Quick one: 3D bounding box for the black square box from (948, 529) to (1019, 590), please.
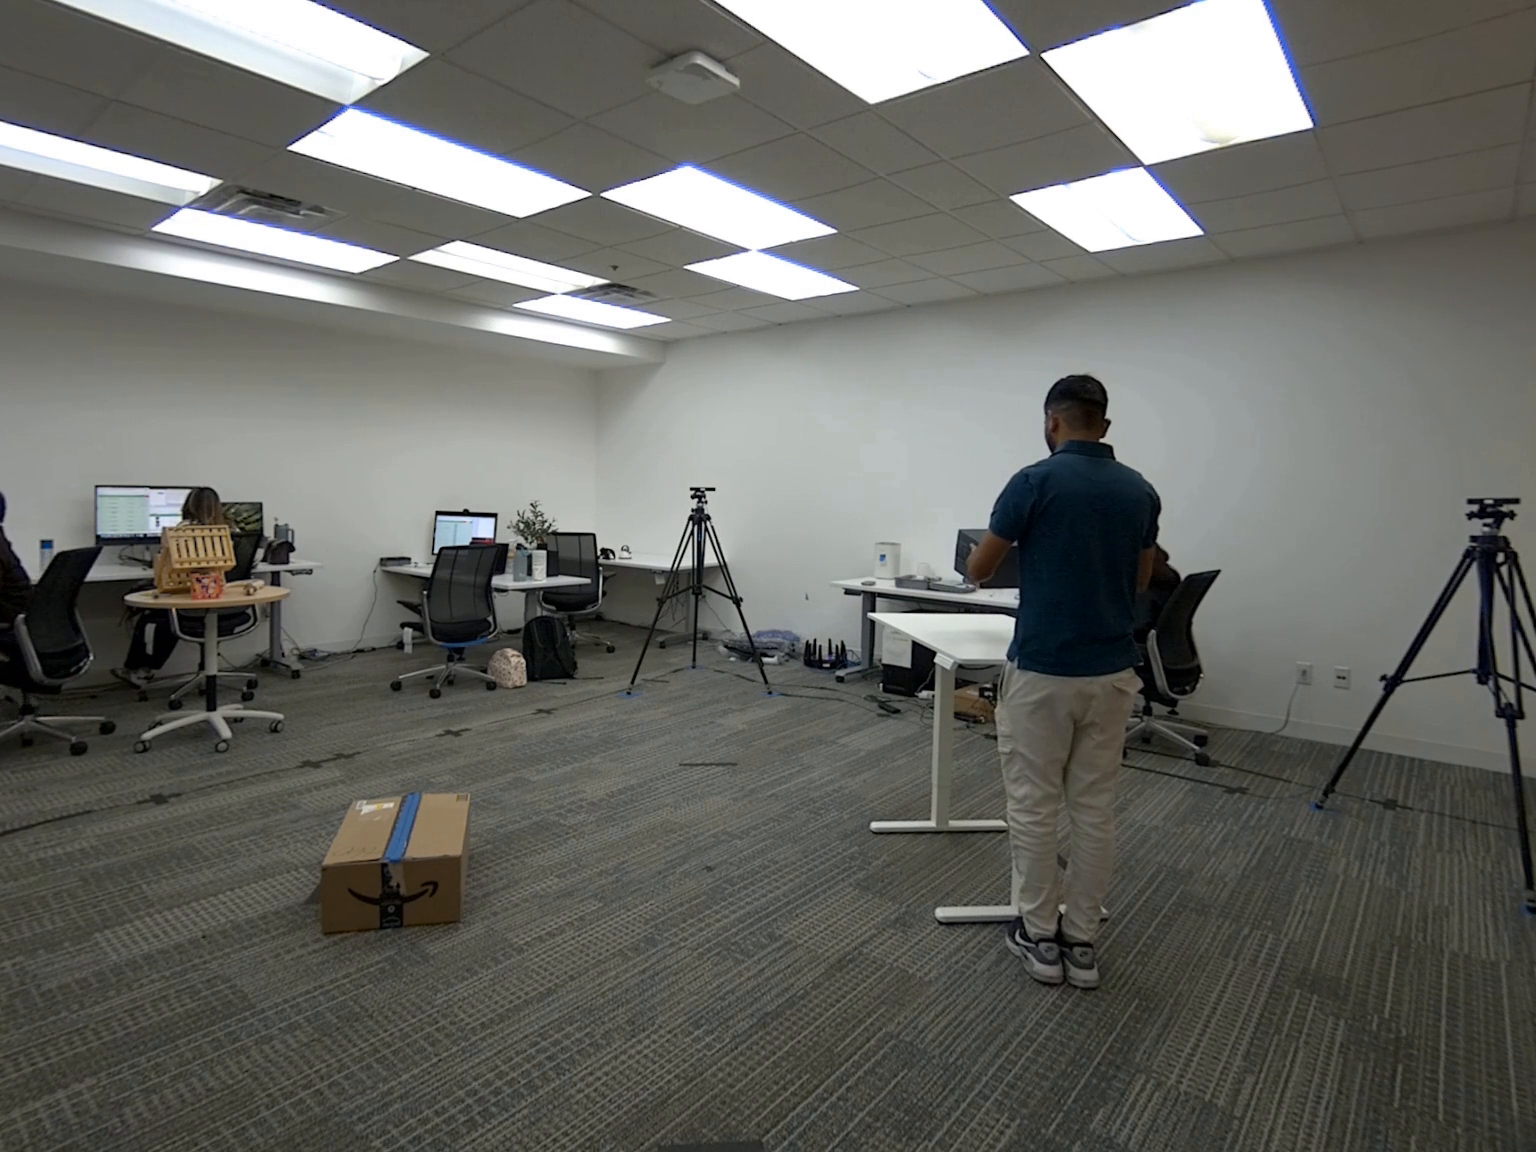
[{"bbox_3d":[0.806,-0.065,3.000,0.225,0.154,0.223,0,17,-12],"label":"black square box"}]
